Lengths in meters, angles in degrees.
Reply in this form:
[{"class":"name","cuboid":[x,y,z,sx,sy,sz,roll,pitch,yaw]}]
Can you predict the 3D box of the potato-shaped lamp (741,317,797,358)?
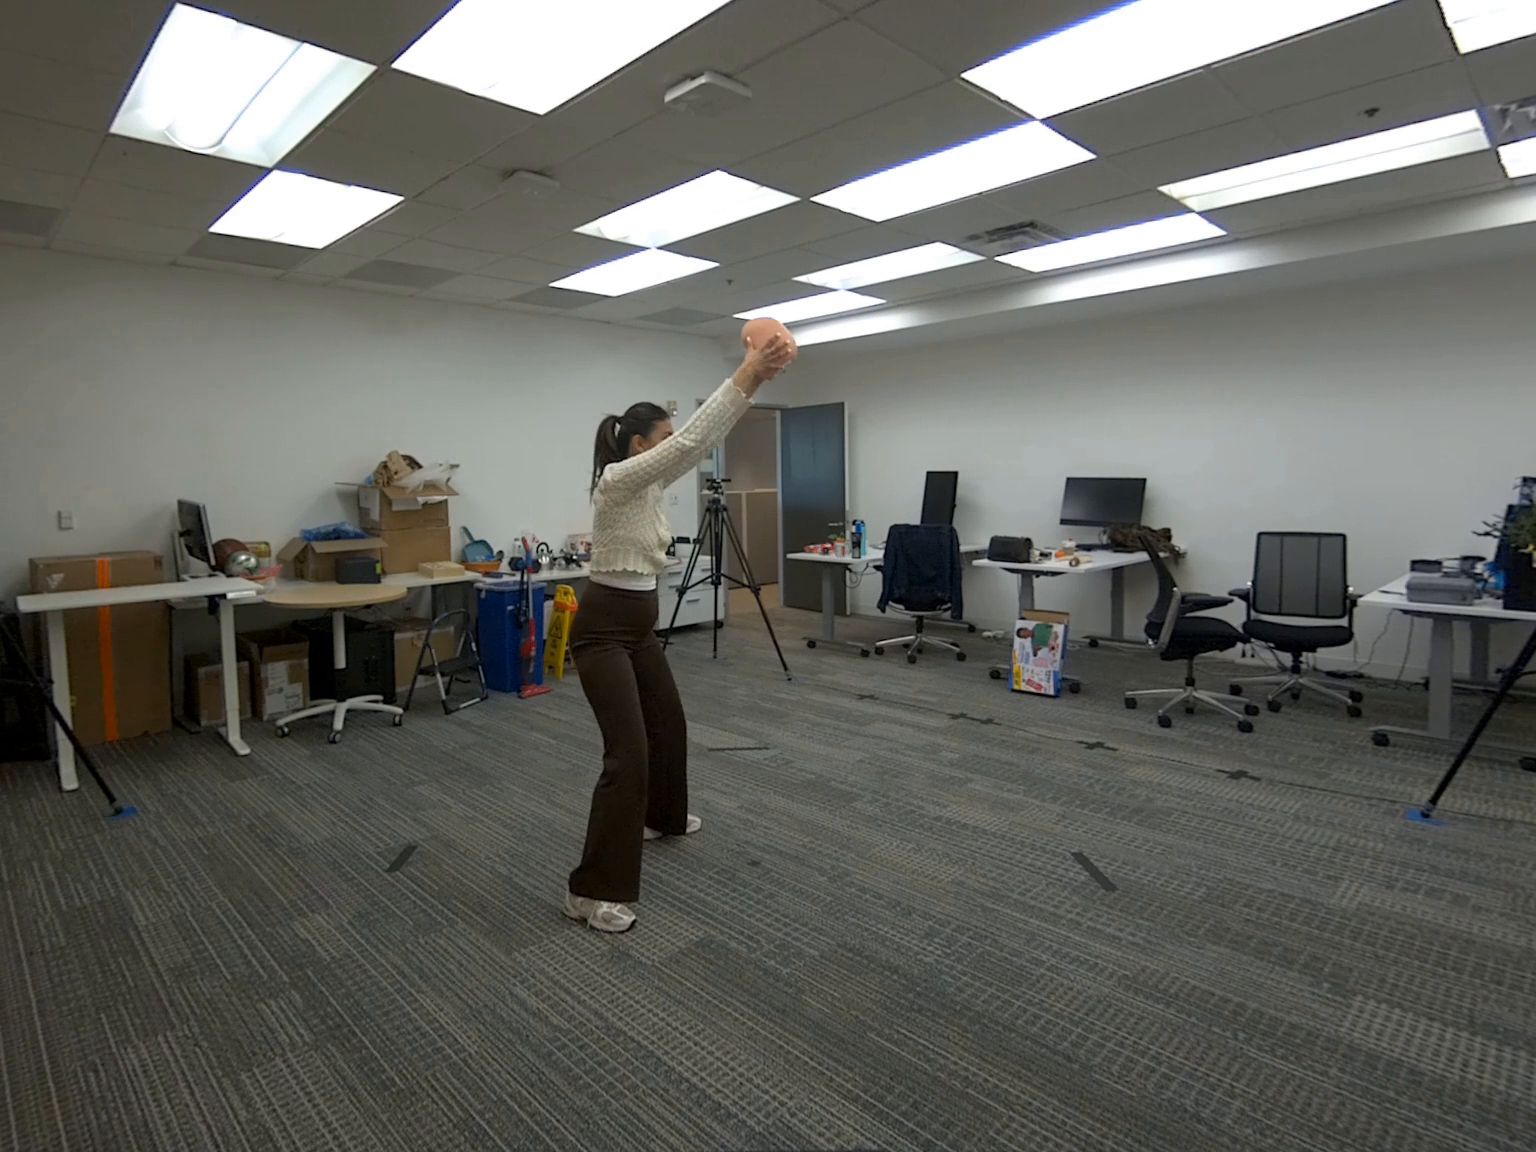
[{"class":"potato-shaped lamp","cuboid":[-0.002,-0.767,2.866,0.172,0.198,0.164,-36,1,15]}]
